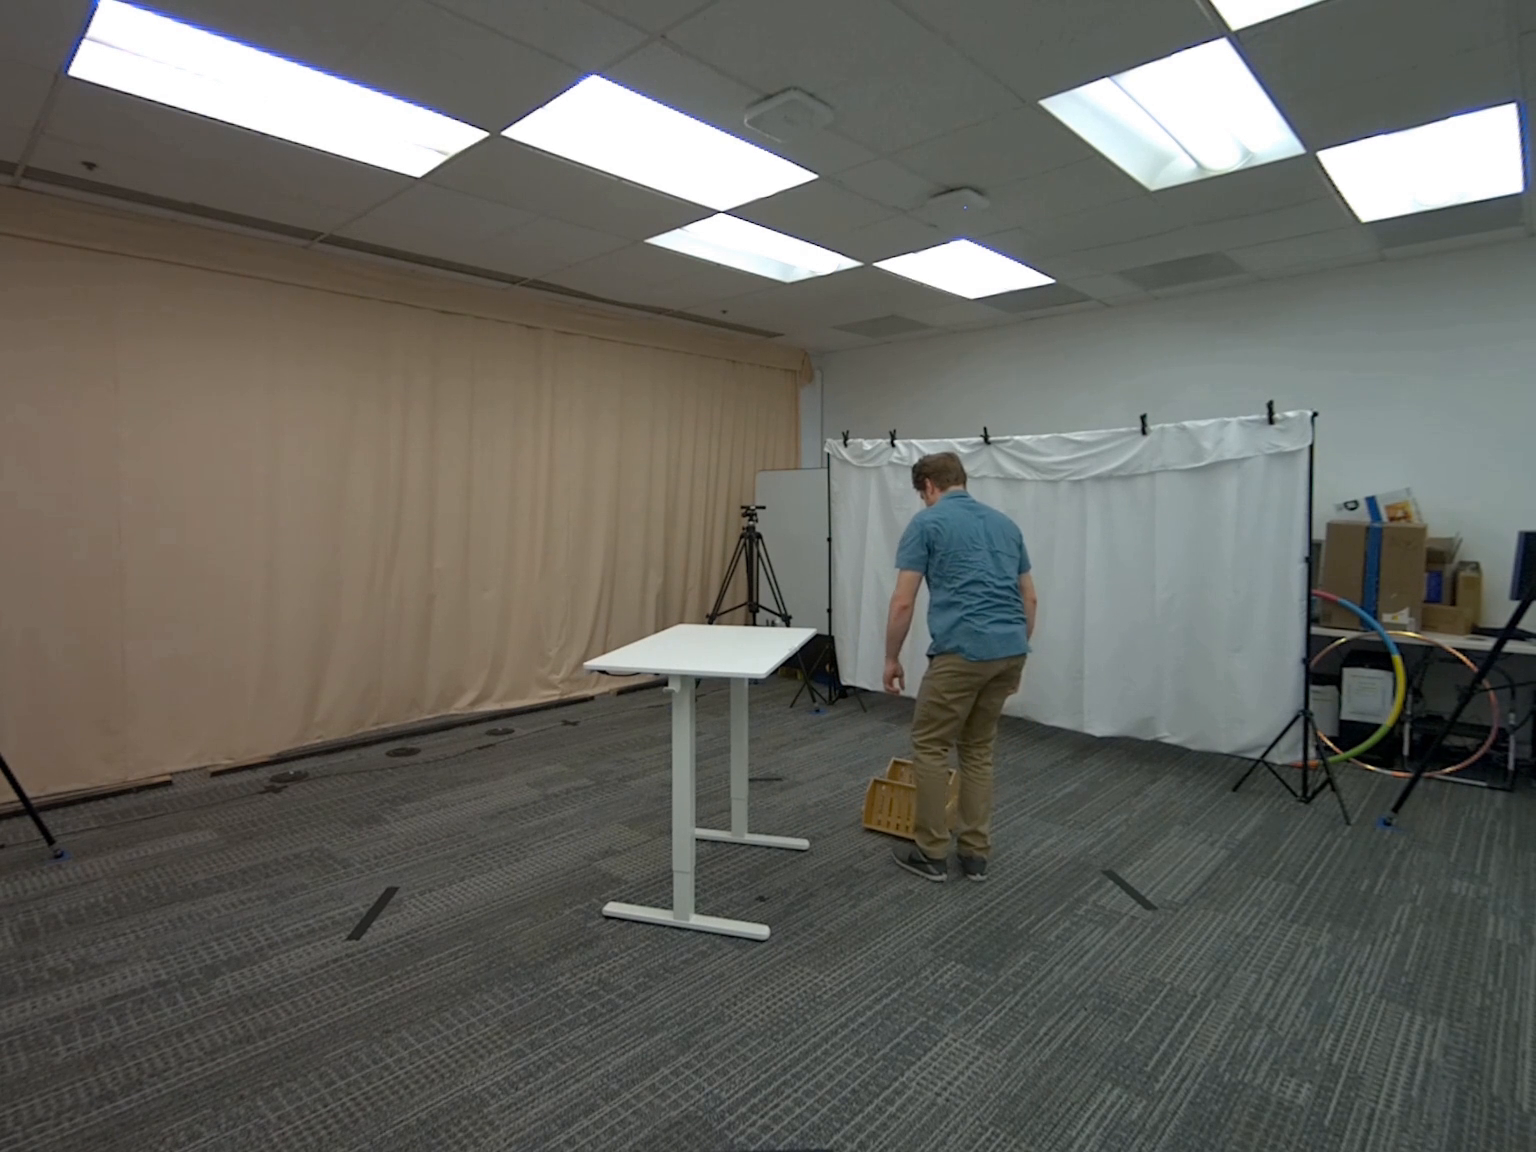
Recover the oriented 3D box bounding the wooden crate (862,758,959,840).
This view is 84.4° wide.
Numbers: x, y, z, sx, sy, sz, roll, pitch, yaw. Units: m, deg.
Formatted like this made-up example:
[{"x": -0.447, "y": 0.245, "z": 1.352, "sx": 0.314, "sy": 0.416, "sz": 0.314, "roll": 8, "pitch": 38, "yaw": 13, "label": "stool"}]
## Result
[{"x": 0.619, "y": 0.955, "z": 3.625, "sx": 0.335, "sy": 0.303, "sz": 0.264, "roll": 4, "pitch": -12, "yaw": 35, "label": "wooden crate"}]
